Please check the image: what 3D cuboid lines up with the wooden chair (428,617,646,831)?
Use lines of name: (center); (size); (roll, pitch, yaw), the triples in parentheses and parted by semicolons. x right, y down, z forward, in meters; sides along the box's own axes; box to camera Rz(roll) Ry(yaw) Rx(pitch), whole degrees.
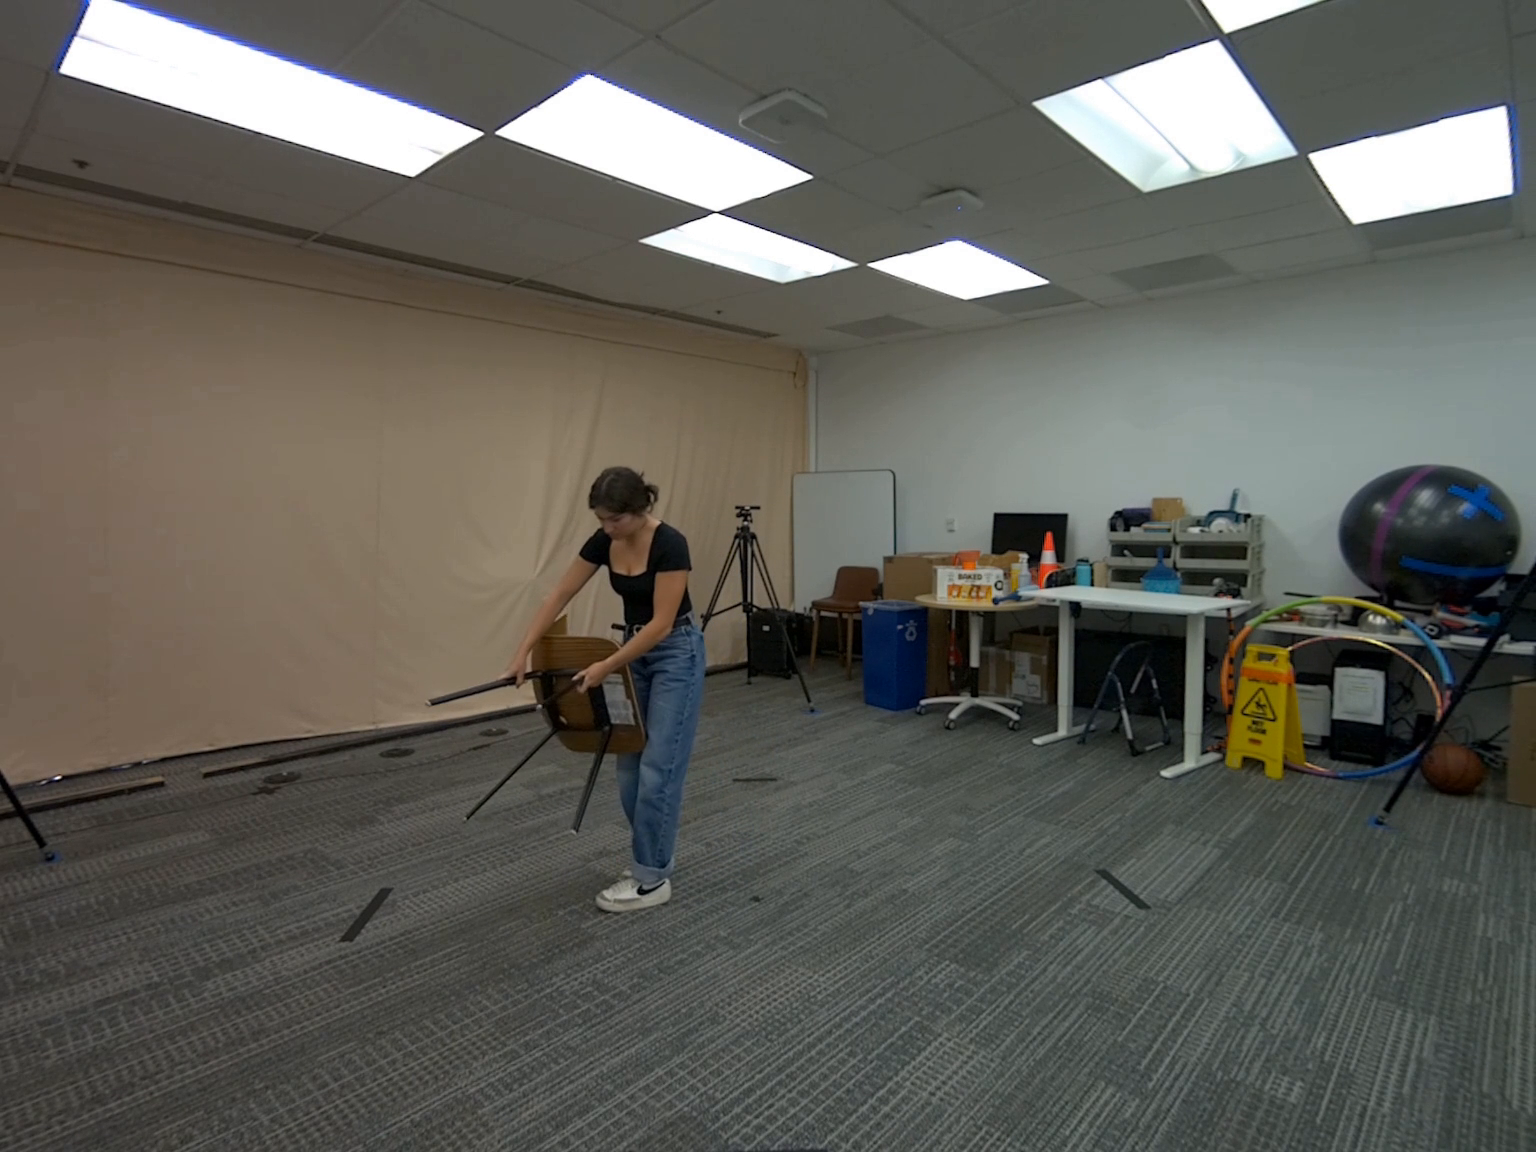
wooden chair: (-0.682, 0.452, 3.015); (0.533, 0.472, 0.873); (-4, 18, 17)
